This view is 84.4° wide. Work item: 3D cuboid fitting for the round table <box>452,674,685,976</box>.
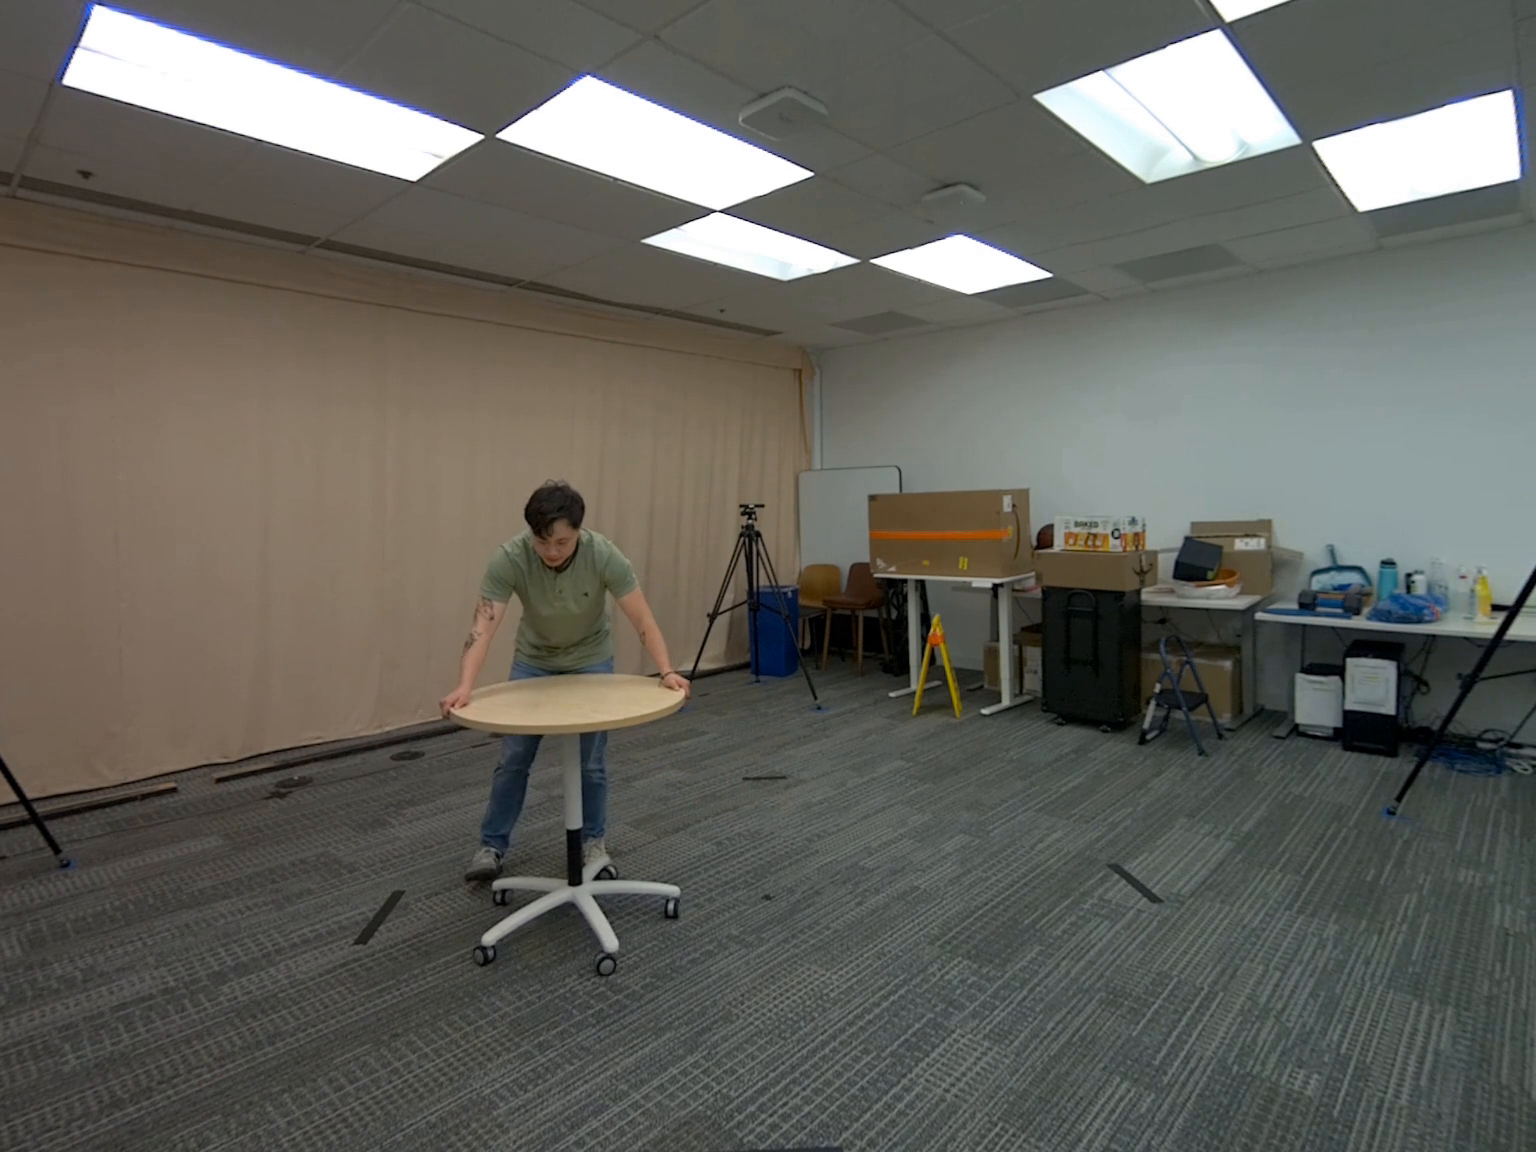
[{"bbox_3d":[-0.646,0.788,2.797,0.763,0.792,0.766,-2,3,-2],"label":"round table"}]
